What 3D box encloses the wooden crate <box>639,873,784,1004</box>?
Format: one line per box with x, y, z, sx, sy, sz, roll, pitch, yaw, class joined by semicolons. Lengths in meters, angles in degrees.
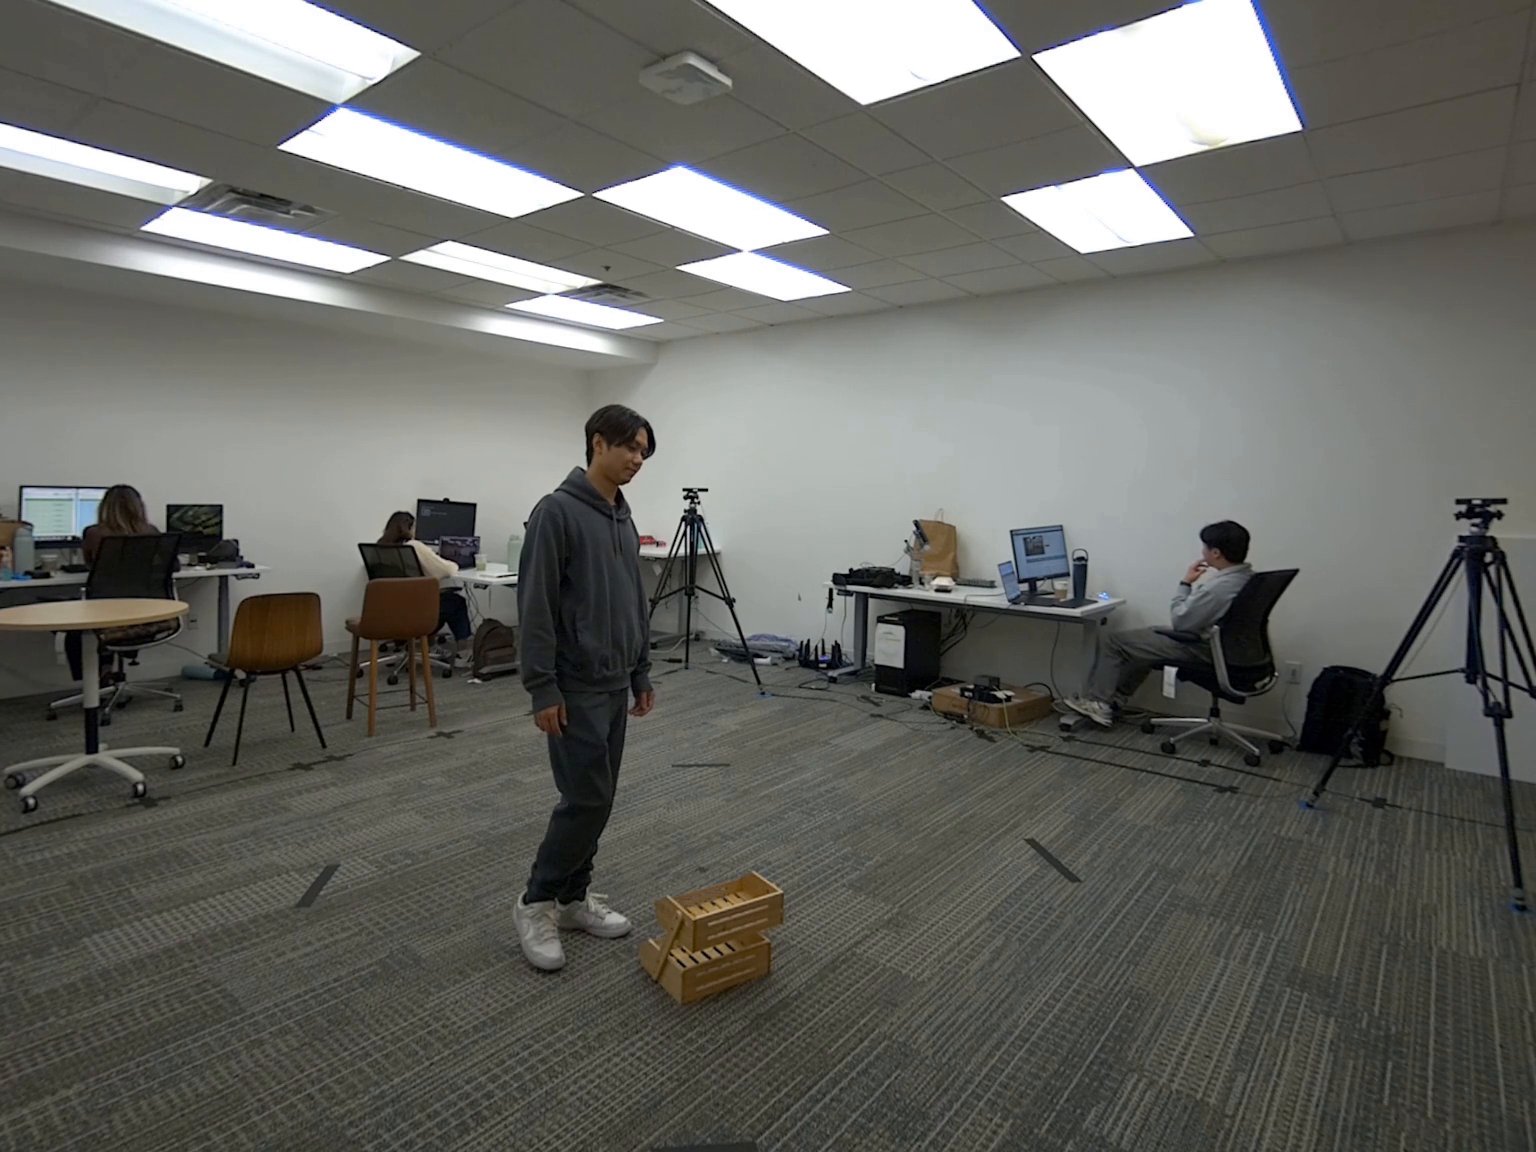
-0.178;1.000;2.440;0.315;0.272;0.312;-2;6;-35;wooden crate
